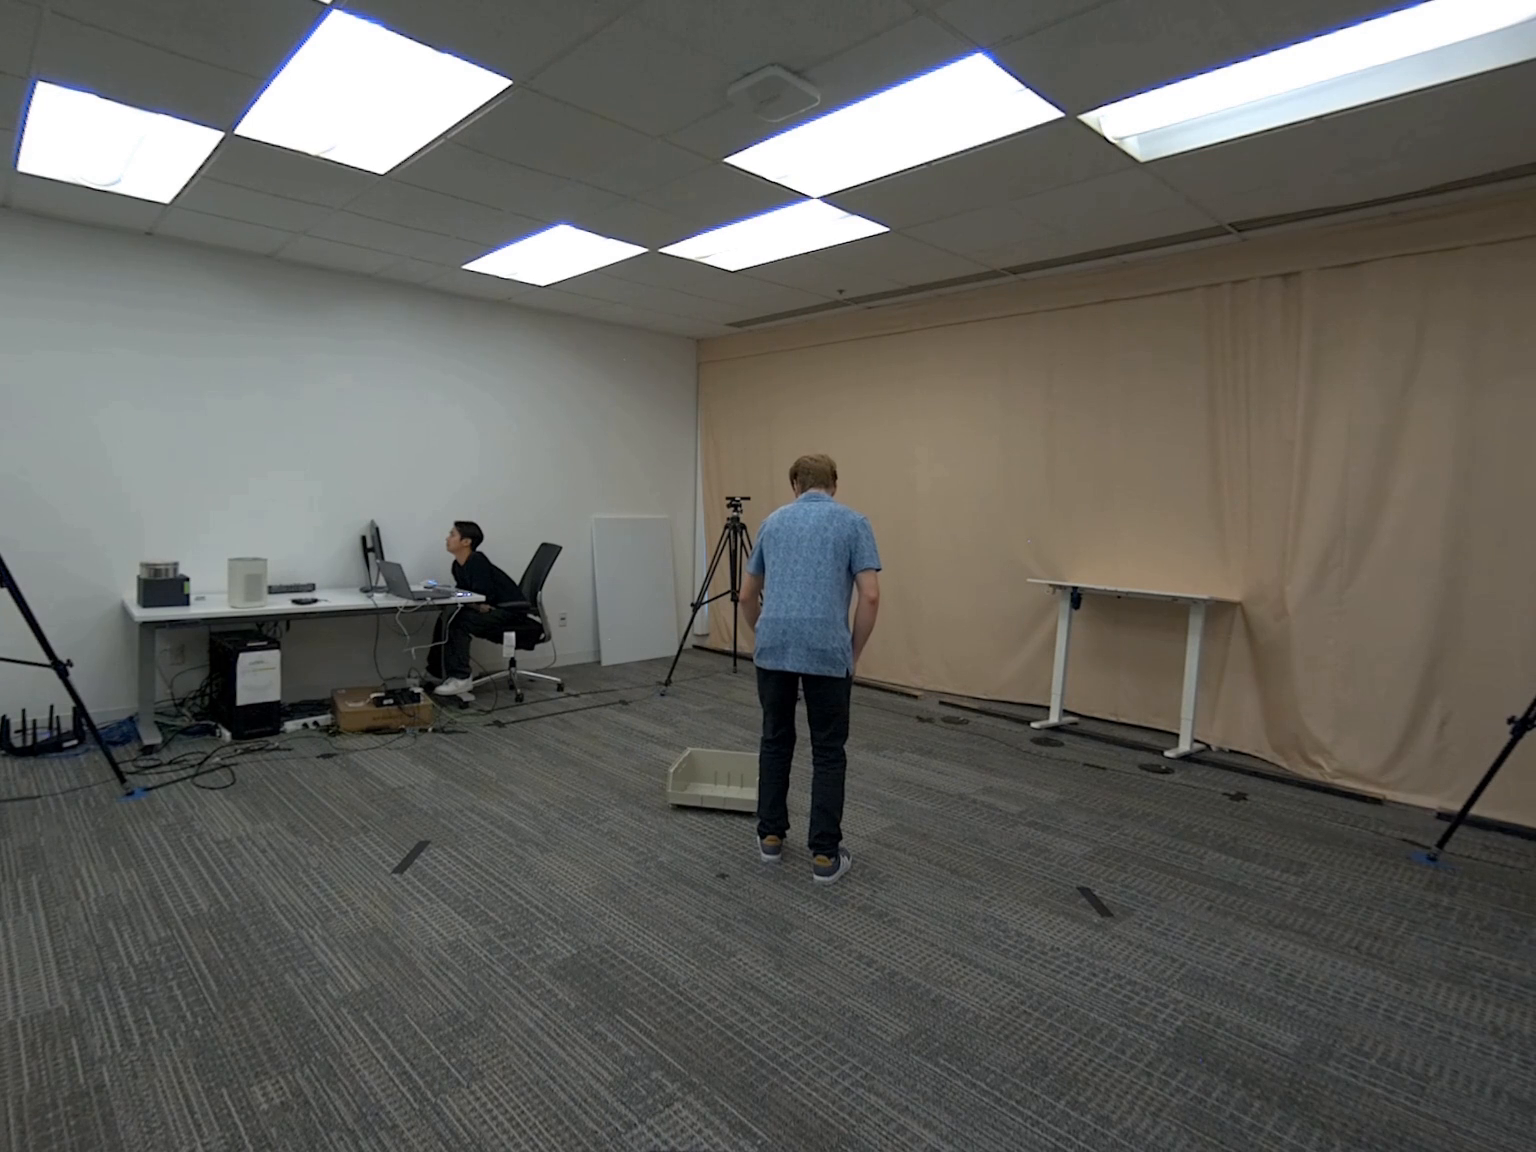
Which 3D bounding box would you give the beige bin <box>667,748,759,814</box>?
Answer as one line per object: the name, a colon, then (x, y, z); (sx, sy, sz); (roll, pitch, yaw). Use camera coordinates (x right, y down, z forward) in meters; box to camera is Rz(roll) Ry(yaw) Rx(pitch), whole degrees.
beige bin: (-0.225, 0.951, 3.881); (0.426, 0.188, 0.375); (2, 4, 10)
